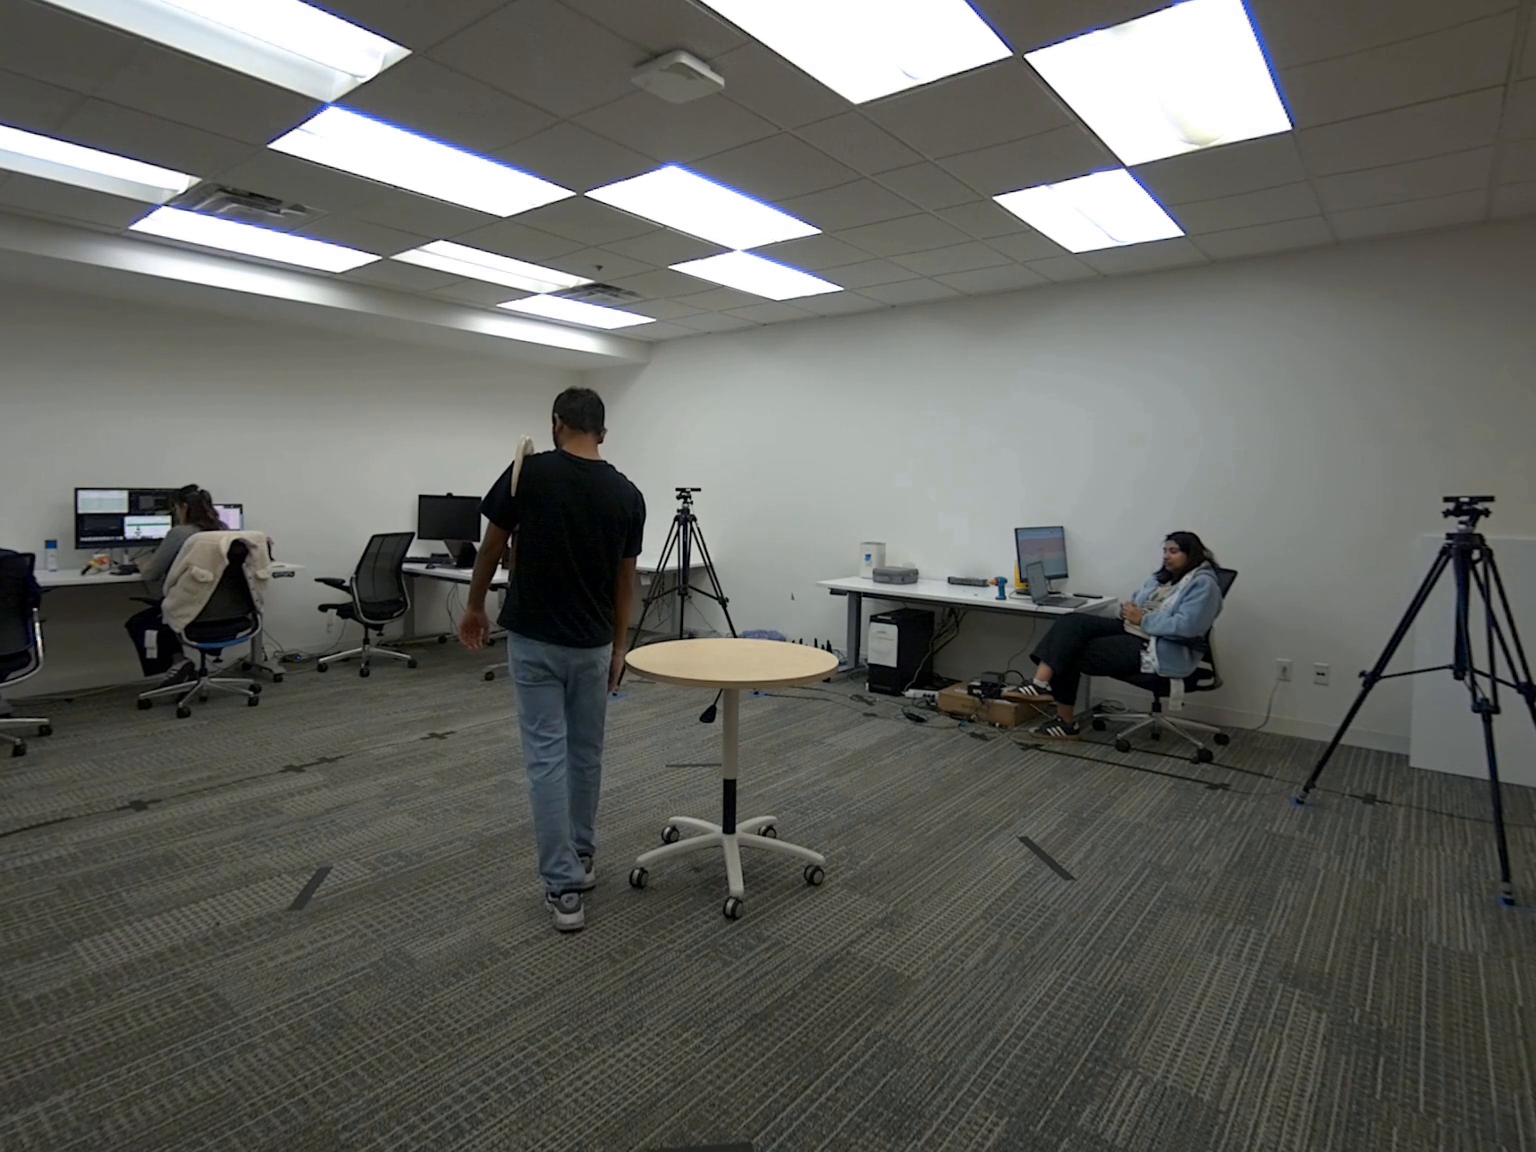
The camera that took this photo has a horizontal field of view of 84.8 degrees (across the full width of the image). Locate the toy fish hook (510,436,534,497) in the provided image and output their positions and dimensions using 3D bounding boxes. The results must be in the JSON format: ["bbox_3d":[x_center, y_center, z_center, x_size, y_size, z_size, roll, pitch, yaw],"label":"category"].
[{"bbox_3d":[-0.833,-0.203,2.763,0.048,0.506,0.225,7,1,-3],"label":"toy fish hook"}]
